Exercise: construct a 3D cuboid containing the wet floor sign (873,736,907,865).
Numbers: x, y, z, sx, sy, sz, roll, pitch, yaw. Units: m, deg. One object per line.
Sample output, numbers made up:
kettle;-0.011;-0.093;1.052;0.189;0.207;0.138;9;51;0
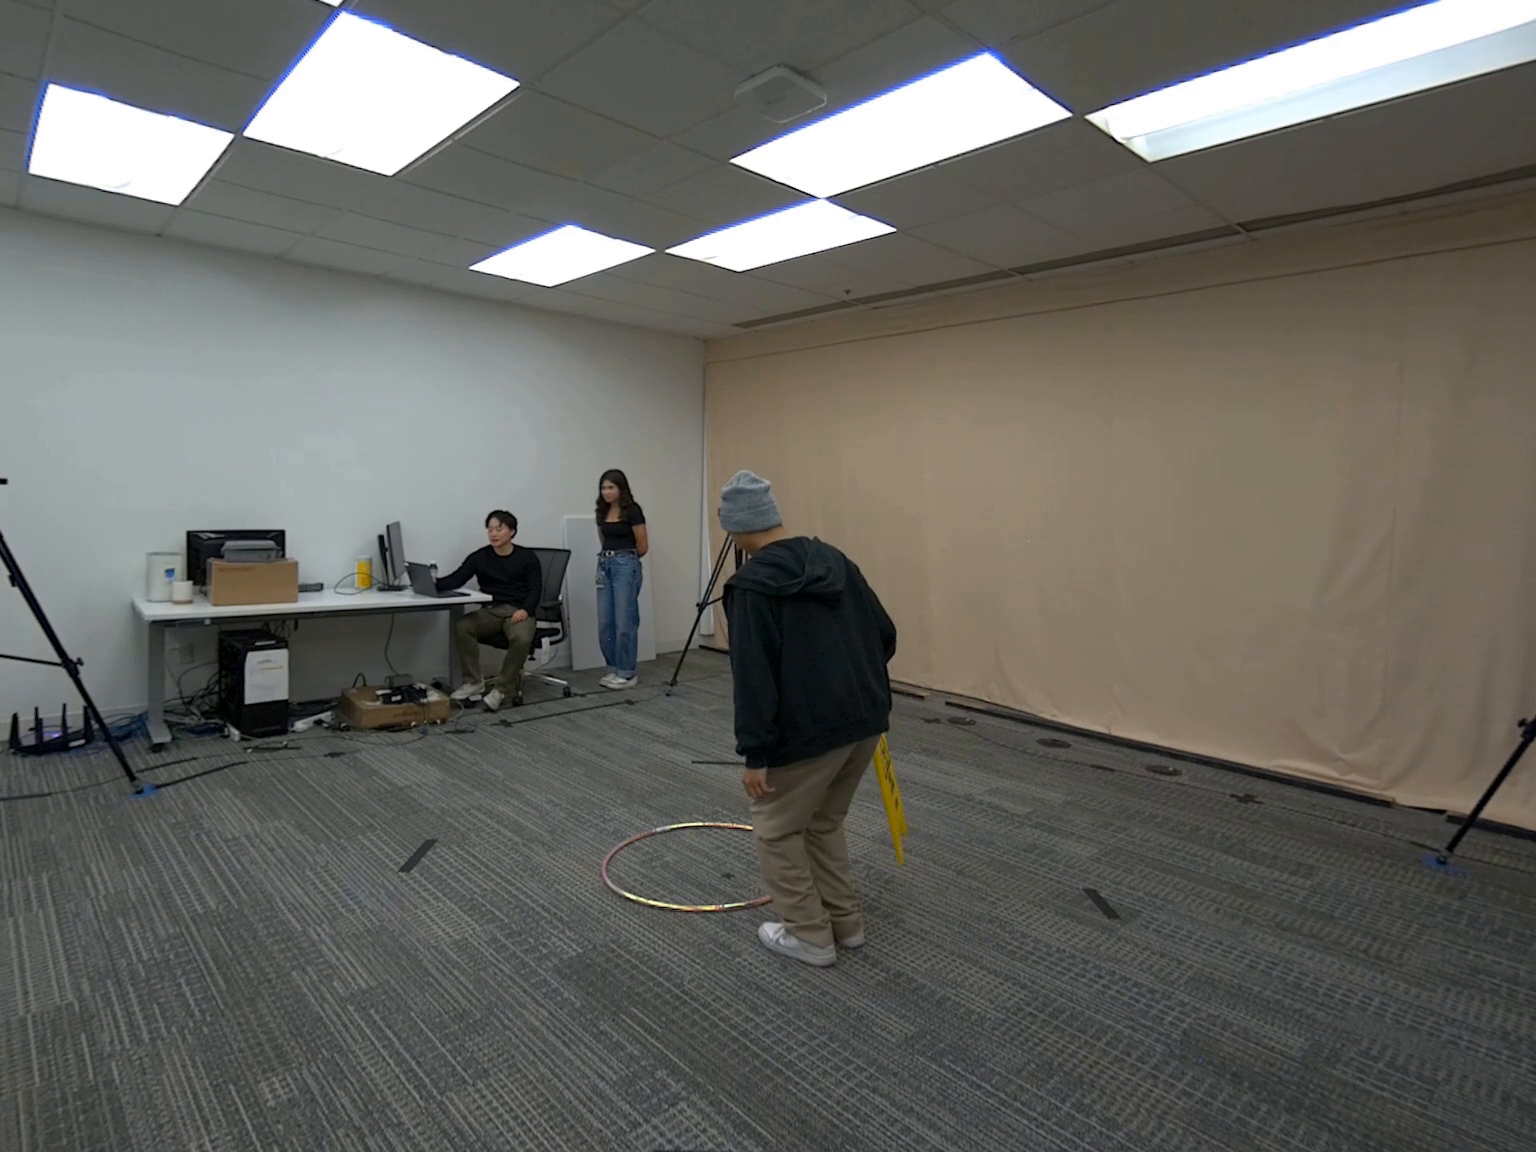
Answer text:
wet floor sign;0.332;0.632;2.981;0.293;0.642;0.281;-3;8;14
